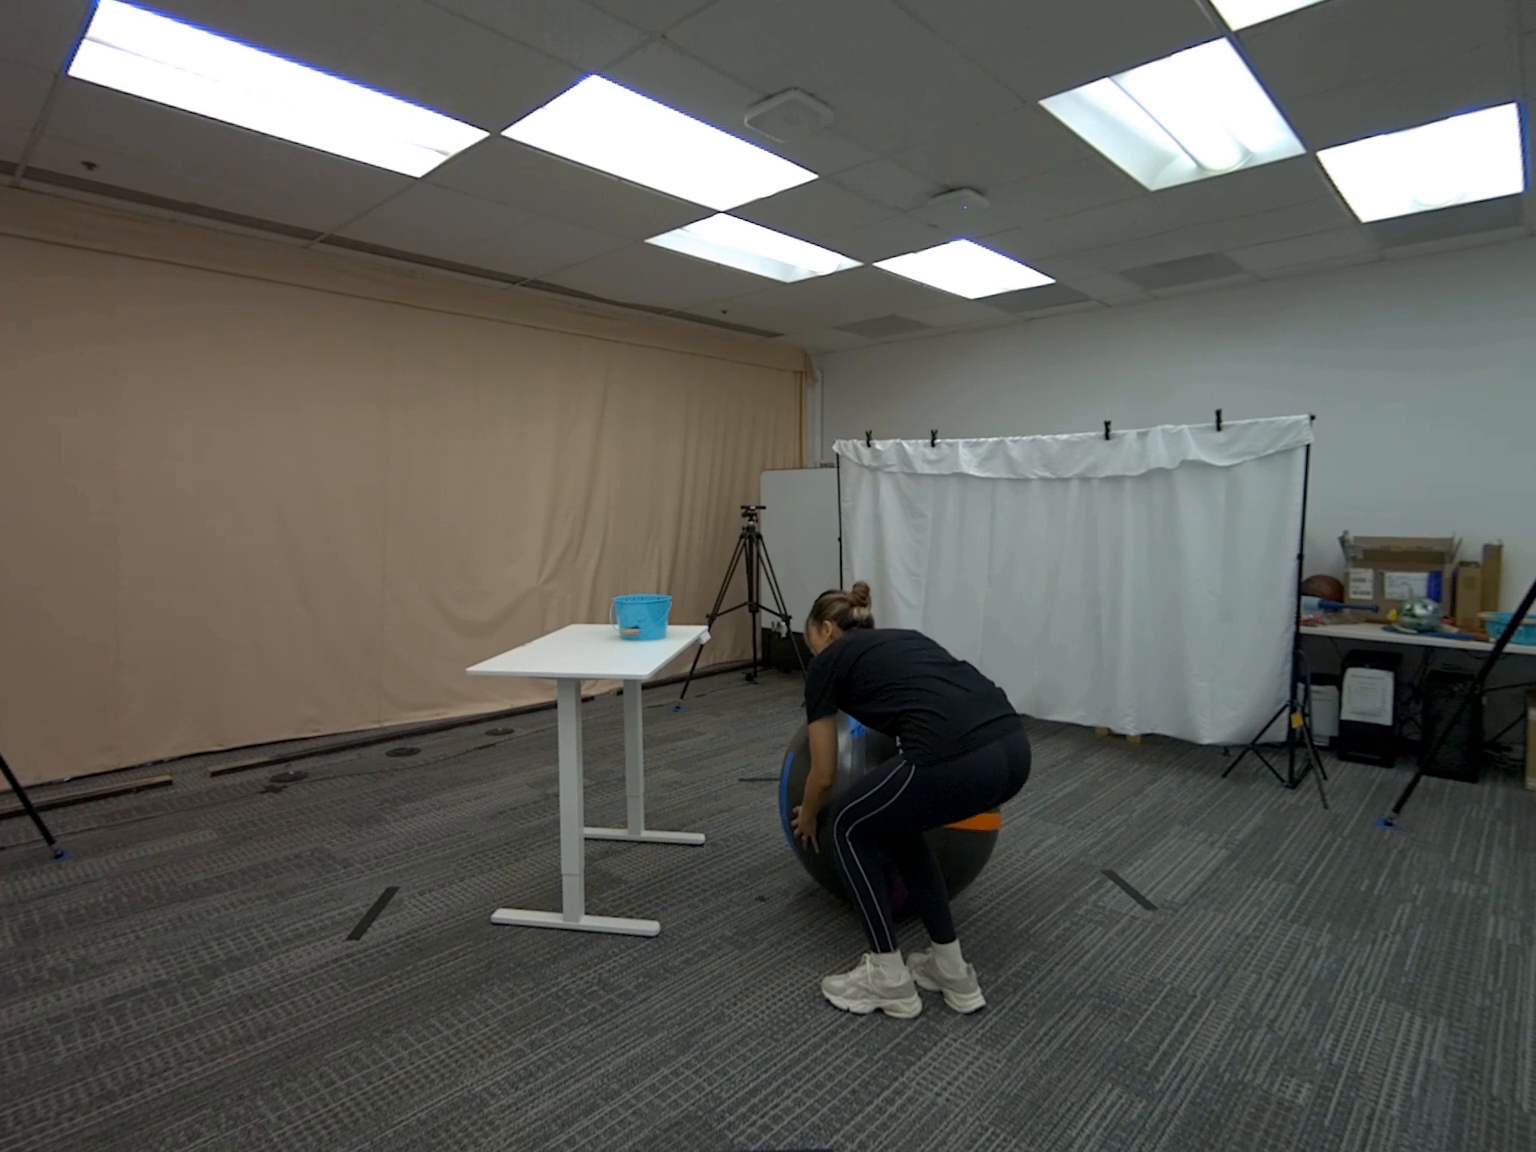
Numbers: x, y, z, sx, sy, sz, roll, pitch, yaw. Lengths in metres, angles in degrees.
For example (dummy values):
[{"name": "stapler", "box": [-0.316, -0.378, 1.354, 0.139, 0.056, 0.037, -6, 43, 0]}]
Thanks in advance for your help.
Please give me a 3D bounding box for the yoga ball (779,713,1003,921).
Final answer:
[{"name": "yoga ball", "box": [0.420, 0.782, 2.942, 0.757, 0.756, 0.761, 0, 4, -2]}]
